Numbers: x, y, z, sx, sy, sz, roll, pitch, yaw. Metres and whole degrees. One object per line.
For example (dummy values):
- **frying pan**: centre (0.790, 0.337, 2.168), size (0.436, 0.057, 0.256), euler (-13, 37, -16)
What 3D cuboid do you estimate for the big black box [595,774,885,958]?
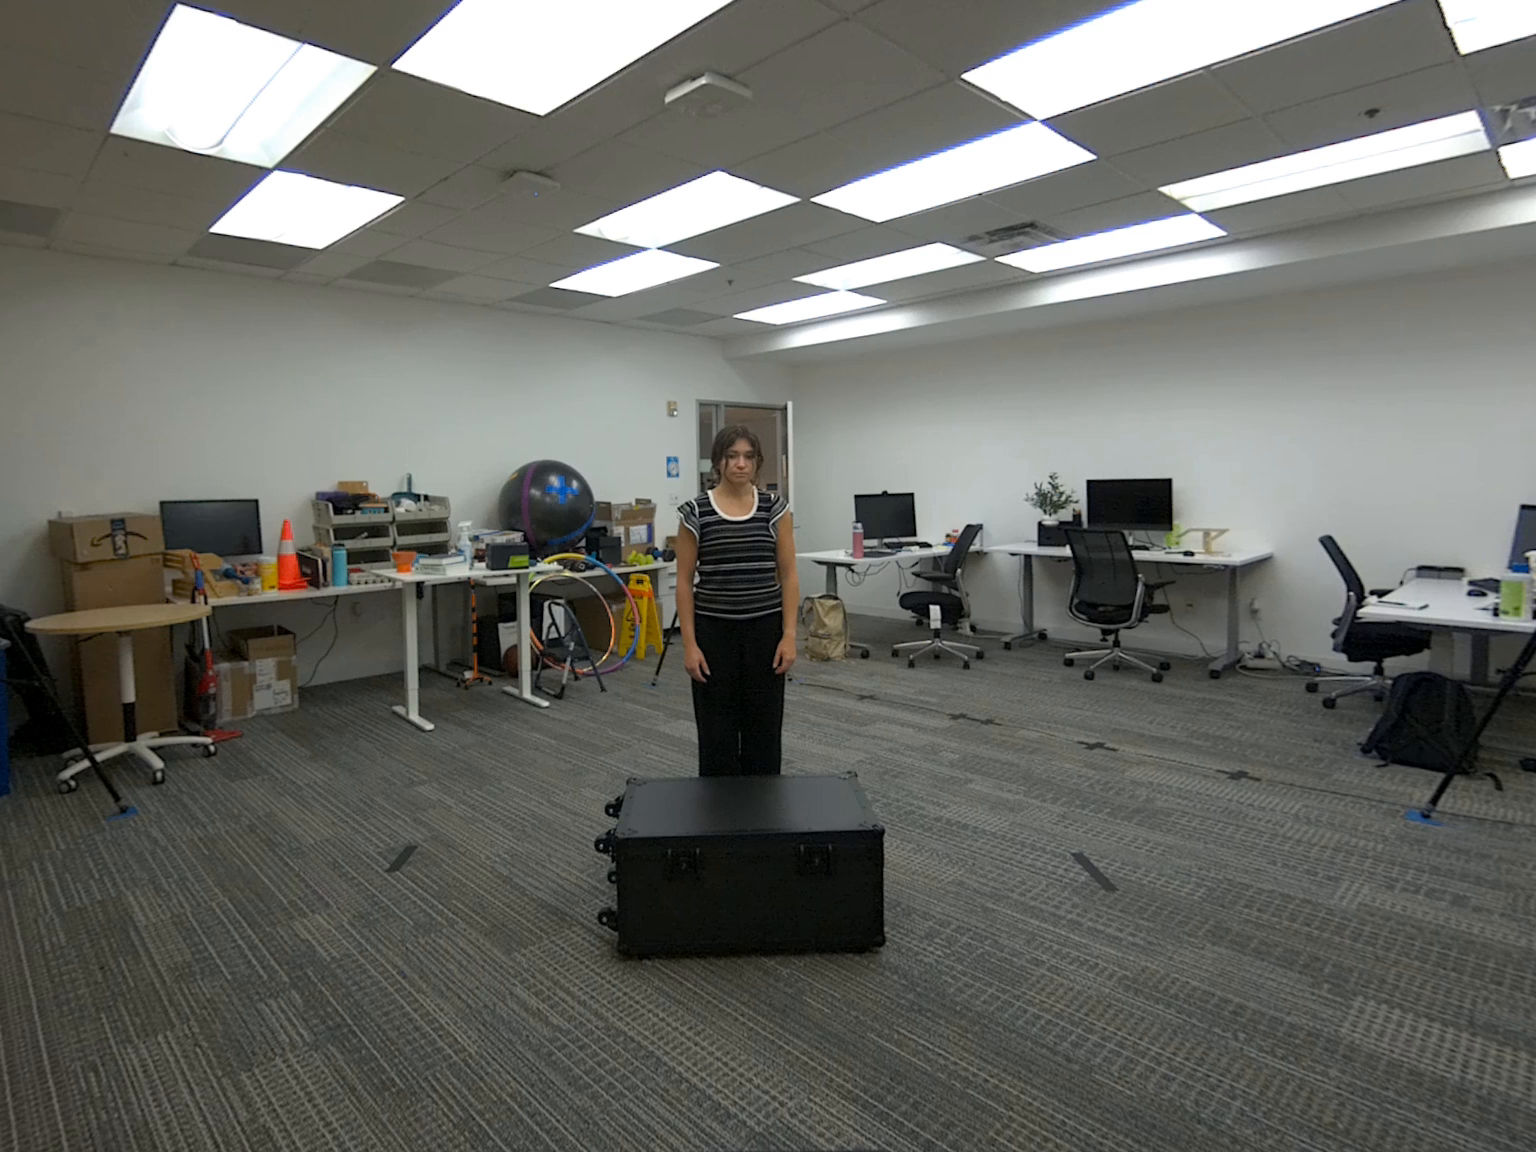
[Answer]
- **big black box**: centre (-0.099, 0.899, 2.717), size (0.860, 0.395, 0.524), euler (-1, 5, -2)
